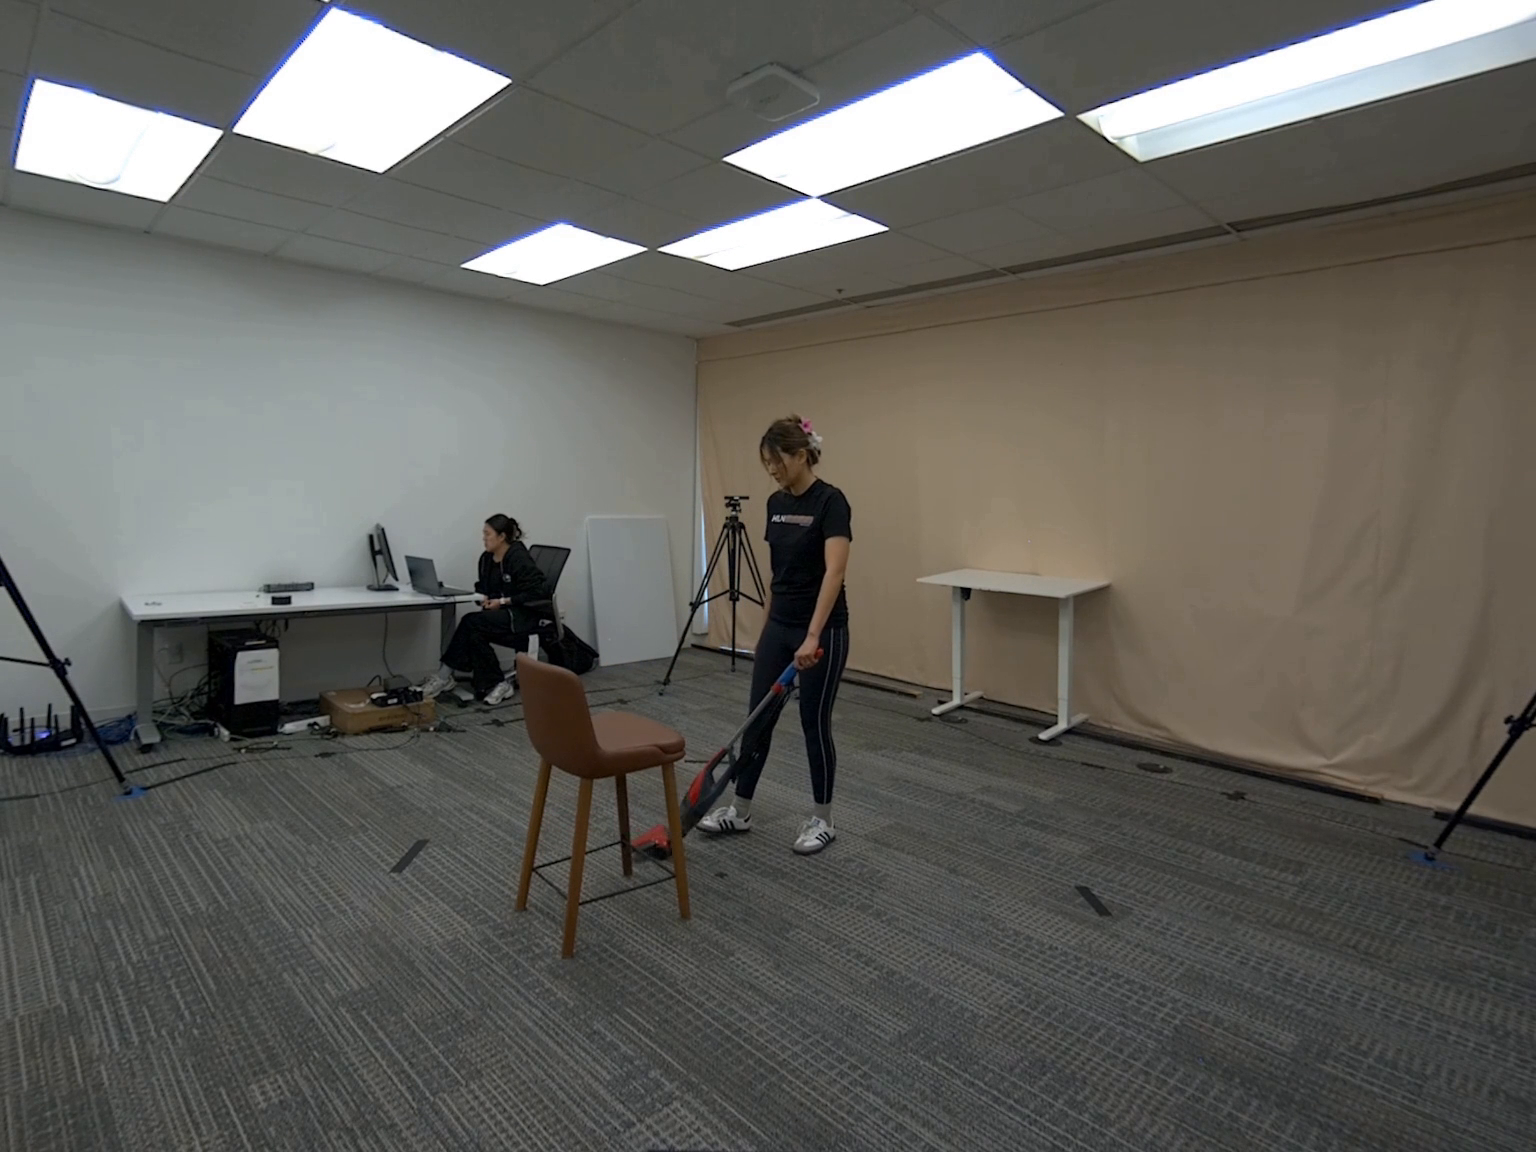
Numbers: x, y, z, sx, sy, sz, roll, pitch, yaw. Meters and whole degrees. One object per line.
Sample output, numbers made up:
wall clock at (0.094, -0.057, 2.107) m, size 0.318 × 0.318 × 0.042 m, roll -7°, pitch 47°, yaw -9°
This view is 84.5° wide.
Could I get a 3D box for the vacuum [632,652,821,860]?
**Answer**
vacuum at (-0.128, 0.672, 3.132) m, size 0.147 × 1.048 × 0.248 m, roll 46°, pitch 20°, yaw 17°
